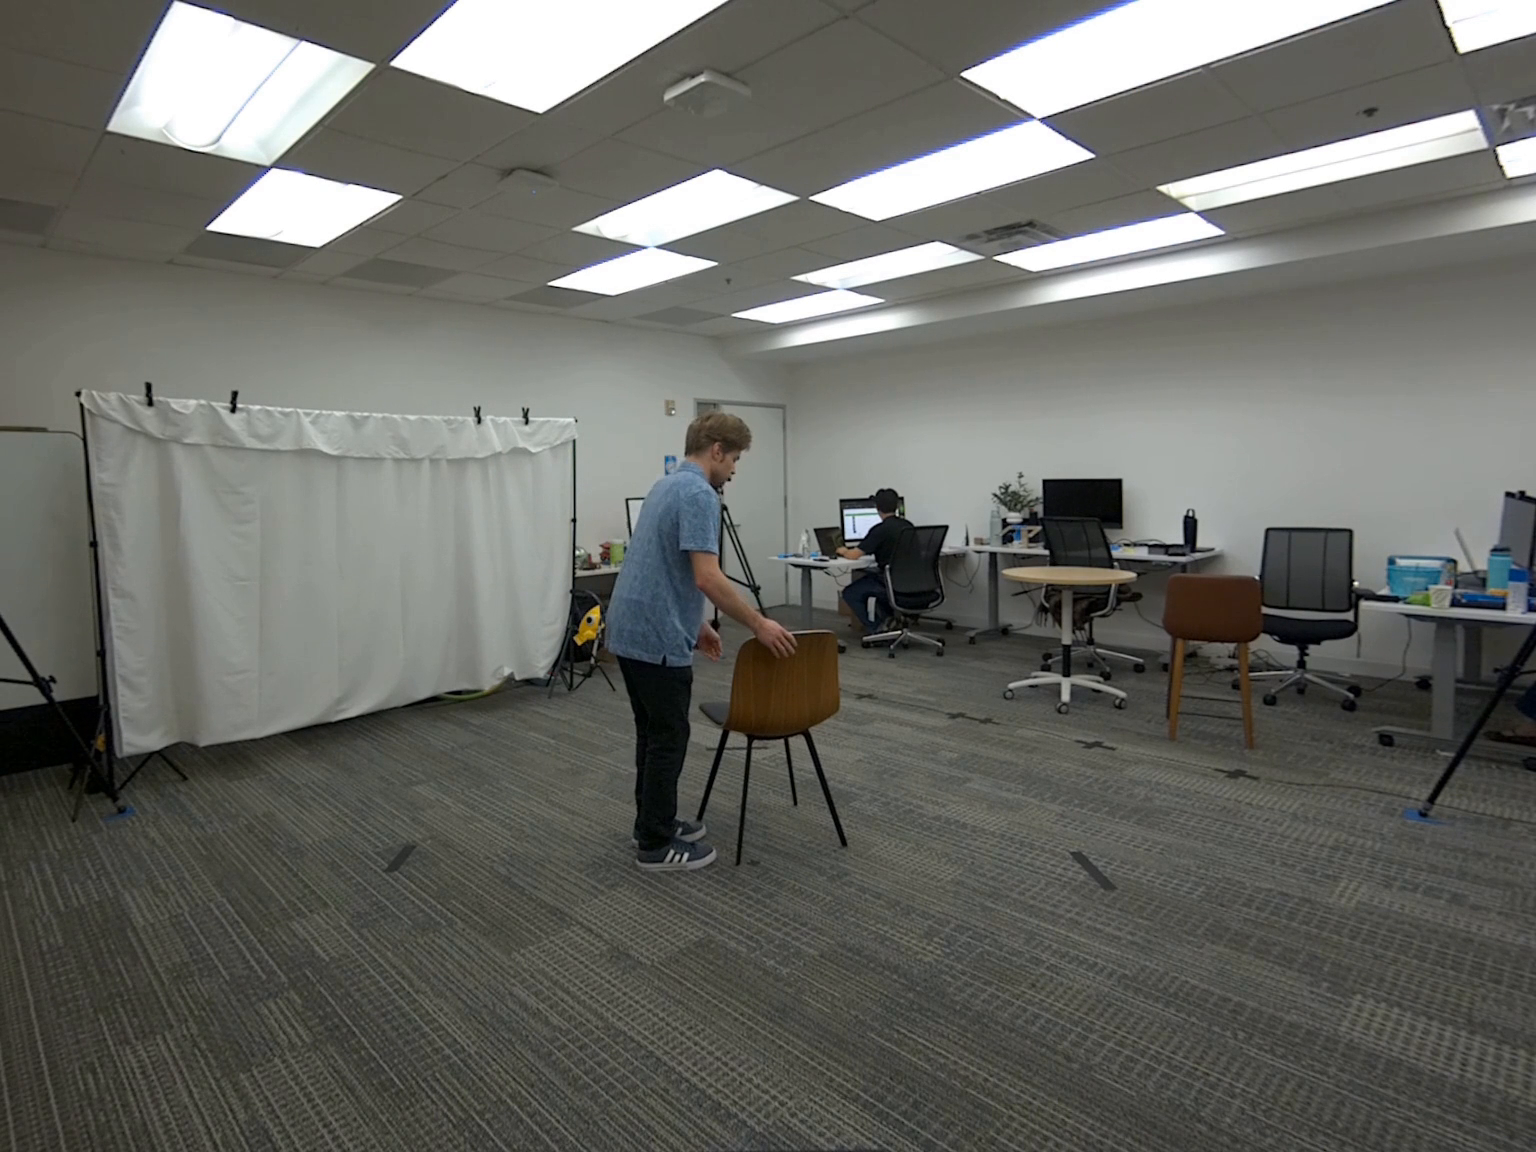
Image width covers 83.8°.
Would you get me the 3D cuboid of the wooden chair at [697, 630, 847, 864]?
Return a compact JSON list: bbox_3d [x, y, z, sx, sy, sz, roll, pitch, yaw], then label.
[{"bbox_3d":[-0.001,0.587,3.343,0.469,0.871,0.537,-3,9,-22],"label":"wooden chair"}]
